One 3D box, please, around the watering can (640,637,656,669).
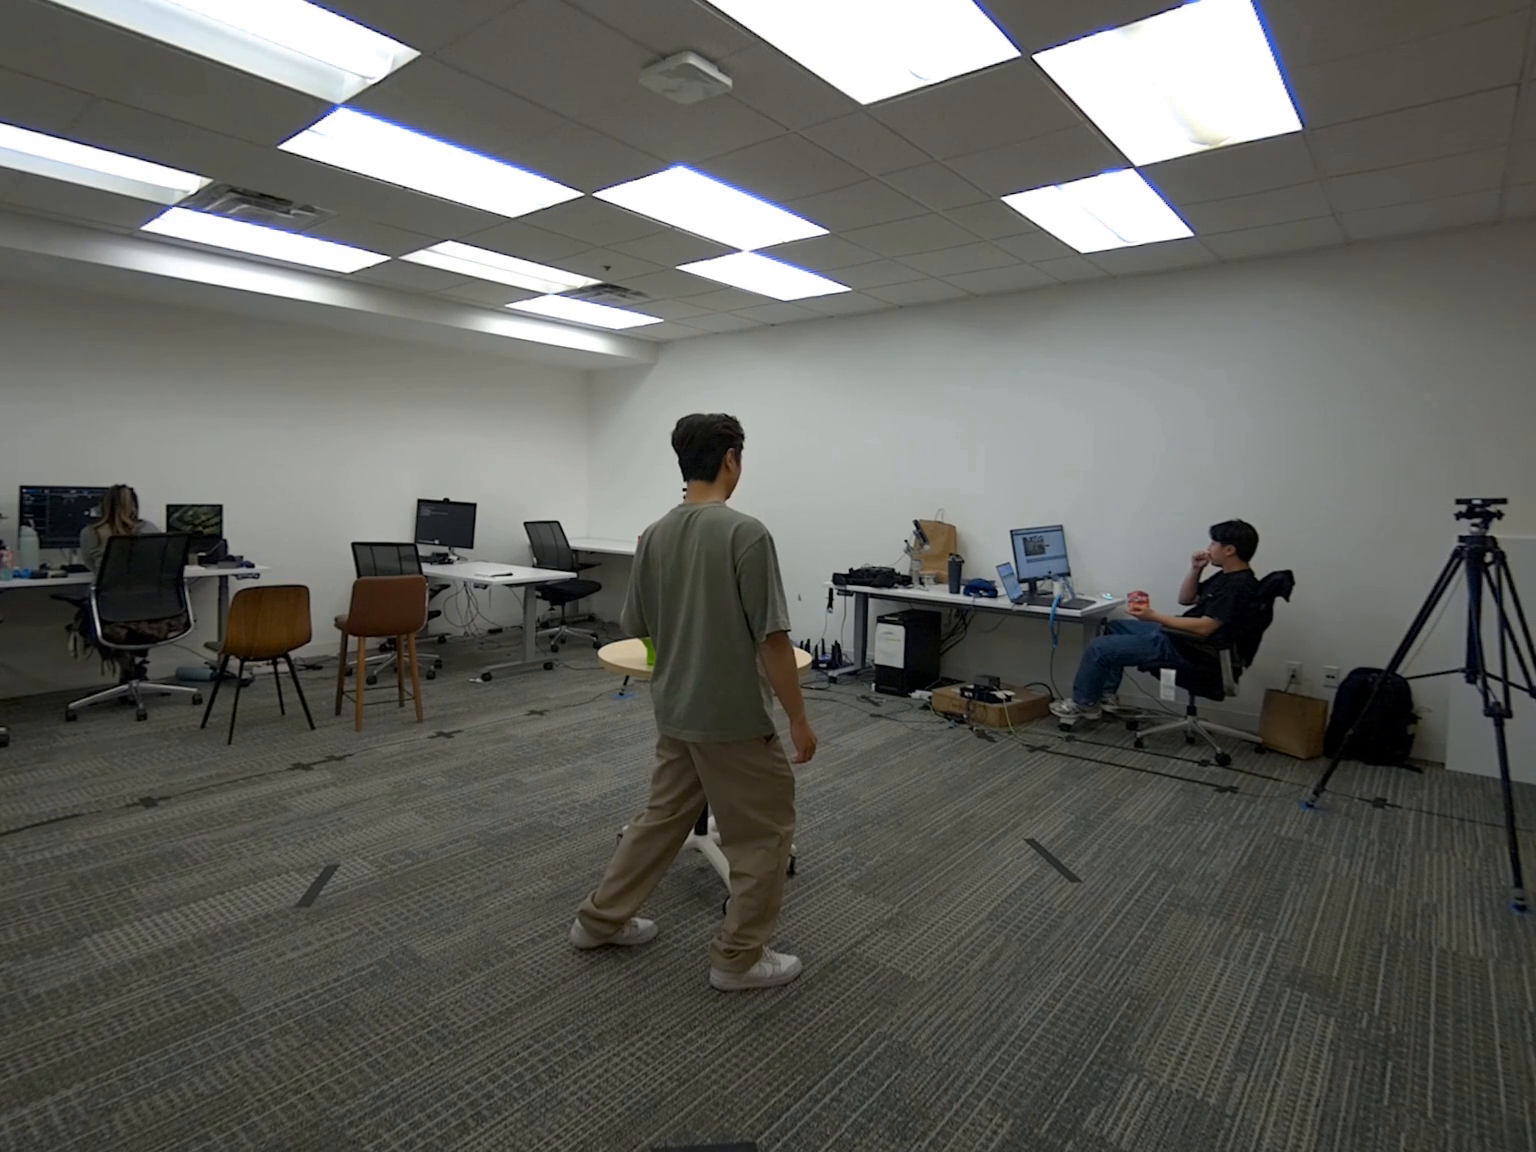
[{"bbox_3d":[-0.307,0.206,2.867,0.273,0.176,0.100,-1,5,-19],"label":"watering can"}]
